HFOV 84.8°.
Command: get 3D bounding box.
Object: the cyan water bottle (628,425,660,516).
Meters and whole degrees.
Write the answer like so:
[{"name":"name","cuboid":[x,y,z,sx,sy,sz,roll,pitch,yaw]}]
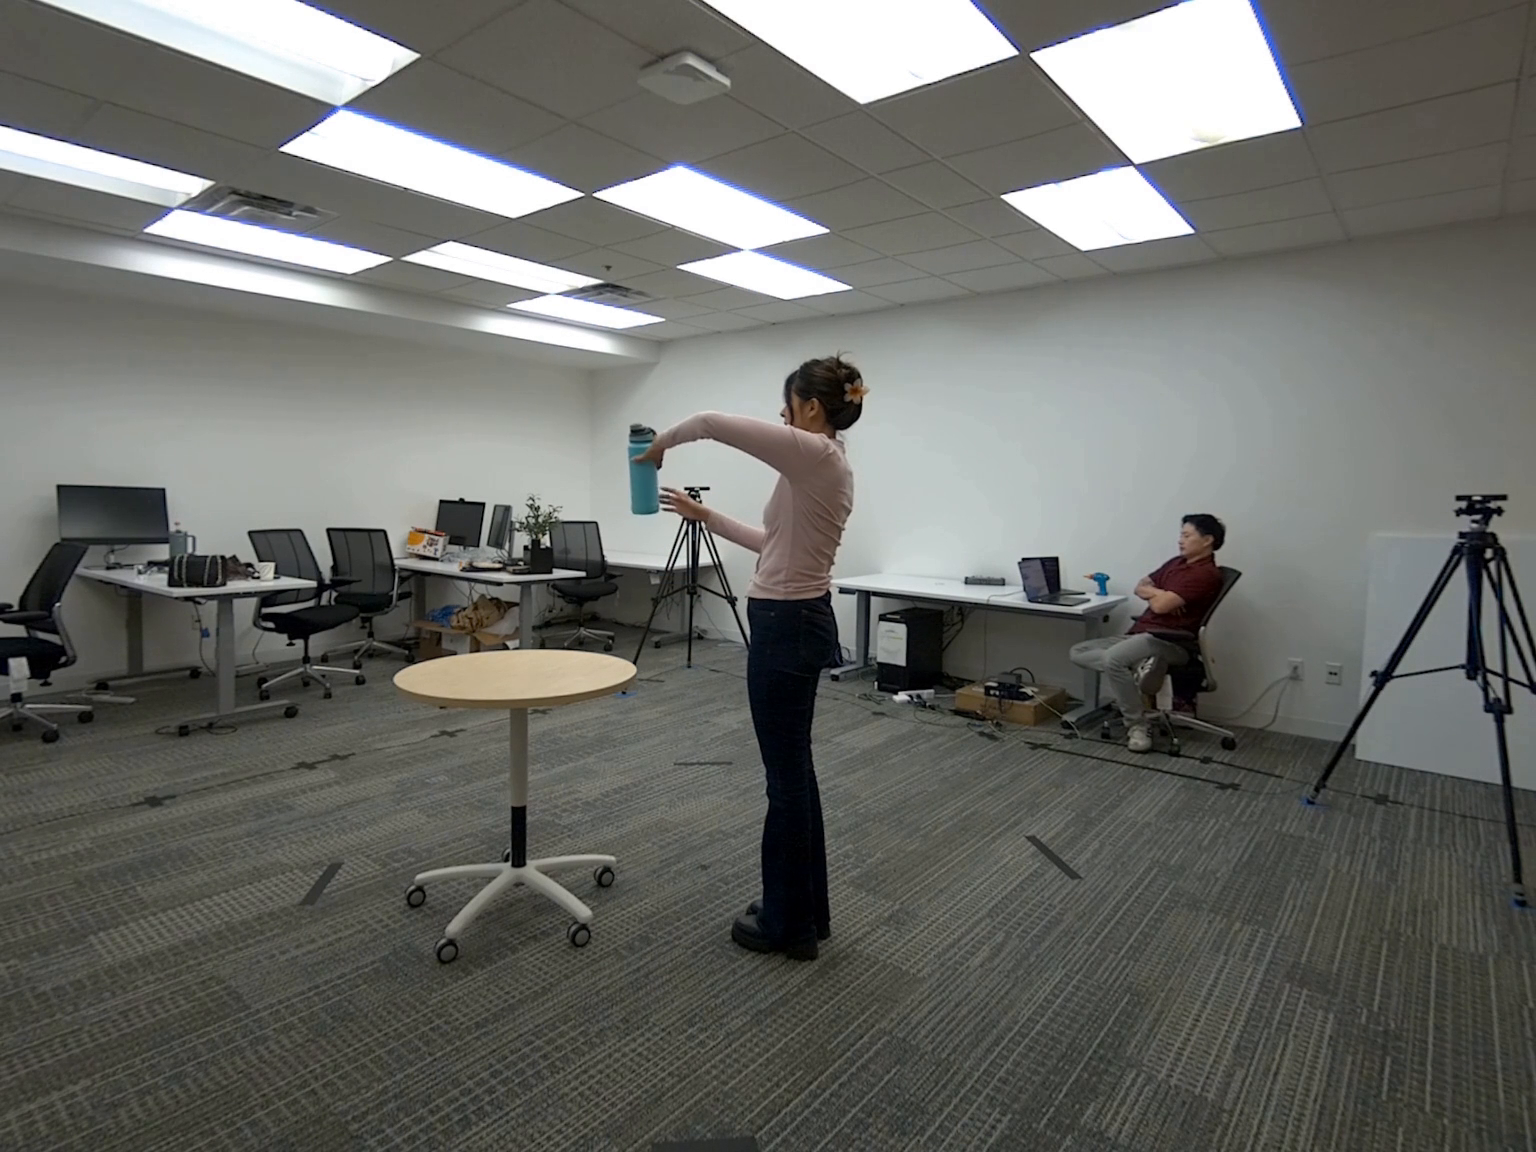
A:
[{"name":"cyan water bottle","cuboid":[-0.407,-0.342,2.691,0.092,0.280,0.093,-2,13,-1]}]
